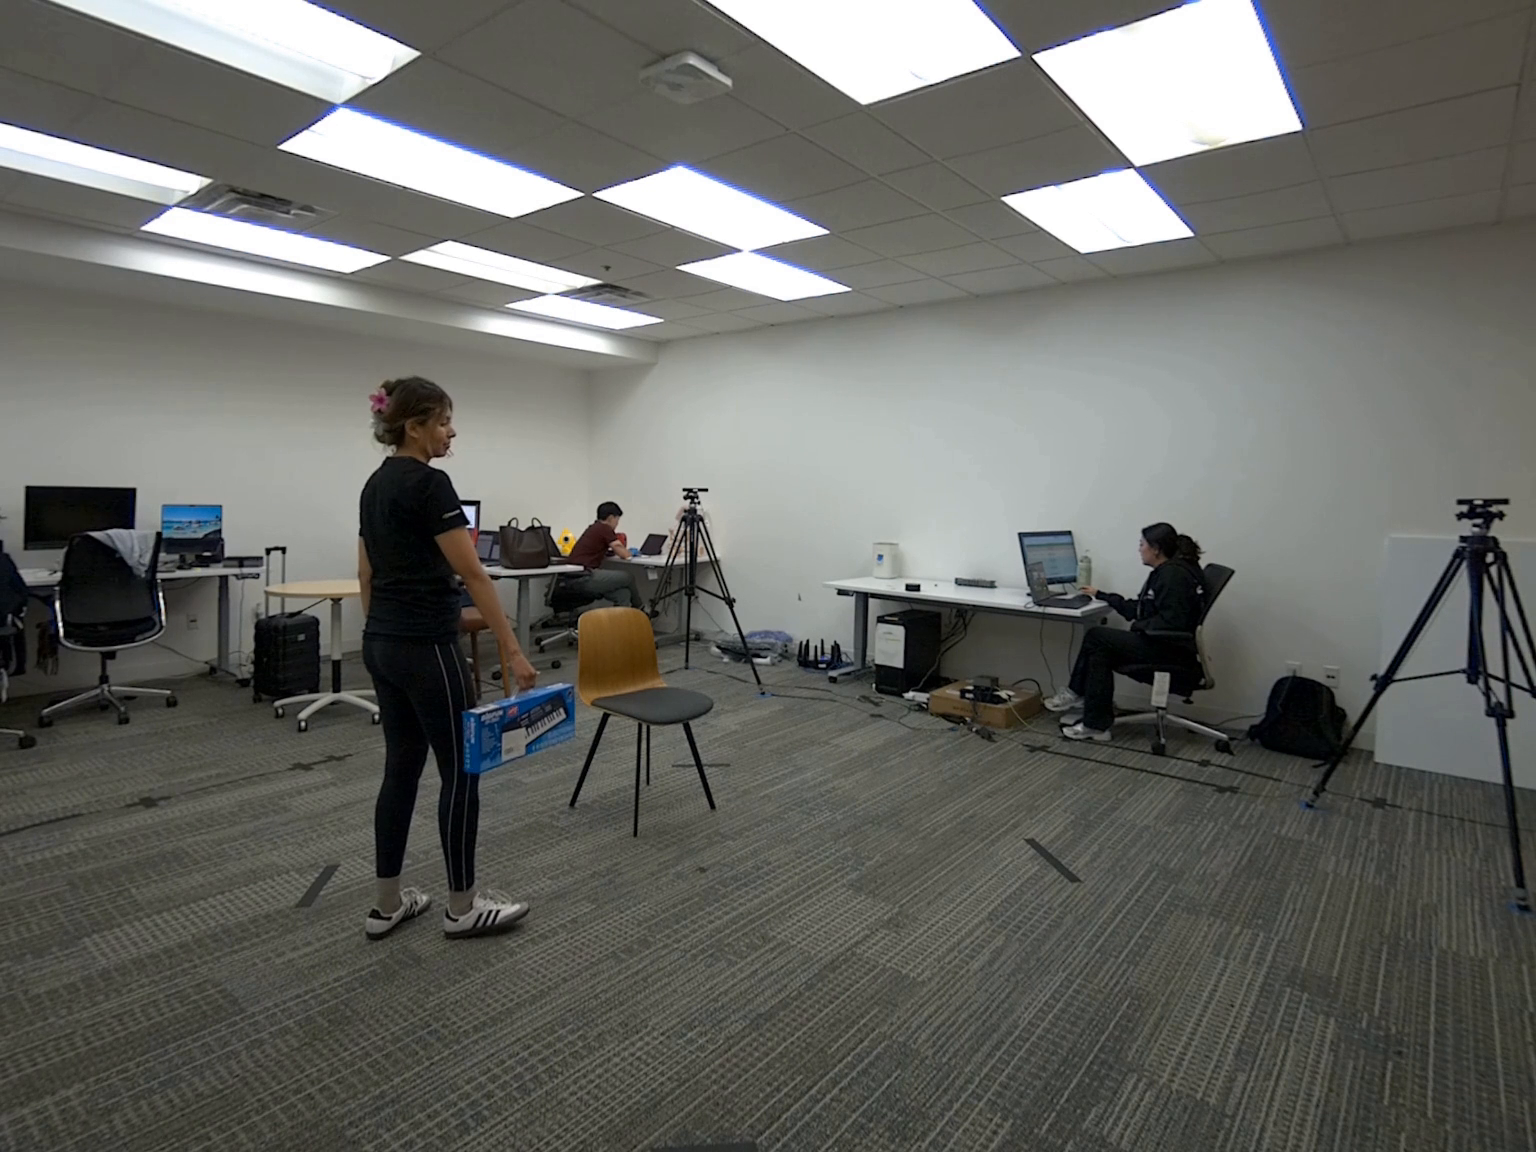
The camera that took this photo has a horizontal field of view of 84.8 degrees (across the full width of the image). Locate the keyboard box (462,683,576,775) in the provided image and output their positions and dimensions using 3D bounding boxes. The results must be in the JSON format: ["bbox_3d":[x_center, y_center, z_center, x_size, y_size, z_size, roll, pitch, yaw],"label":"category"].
[{"bbox_3d":[-0.758,0.458,2.575,0.060,0.175,0.427,1,4,25],"label":"keyboard box"}]
